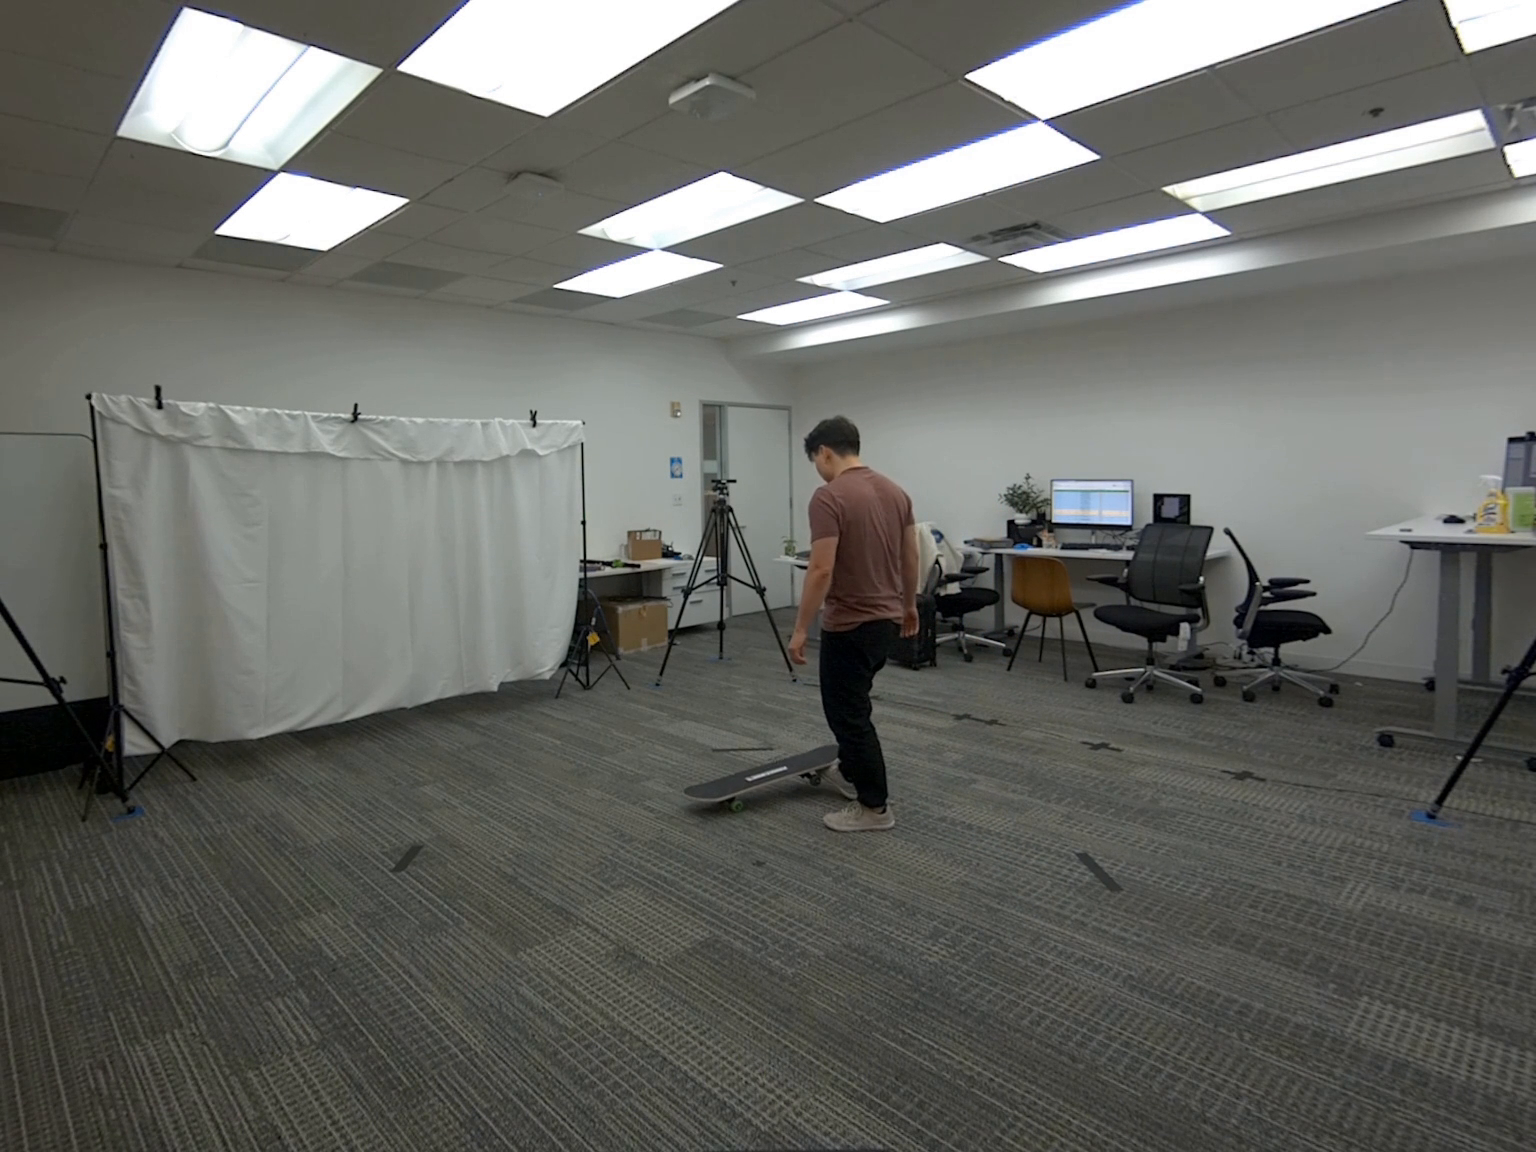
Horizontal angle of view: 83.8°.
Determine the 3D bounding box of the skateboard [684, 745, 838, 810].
[{"bbox_3d":[-0.004,0.901,3.753,0.771,0.109,0.198,-10,9,-26],"label":"skateboard"}]
